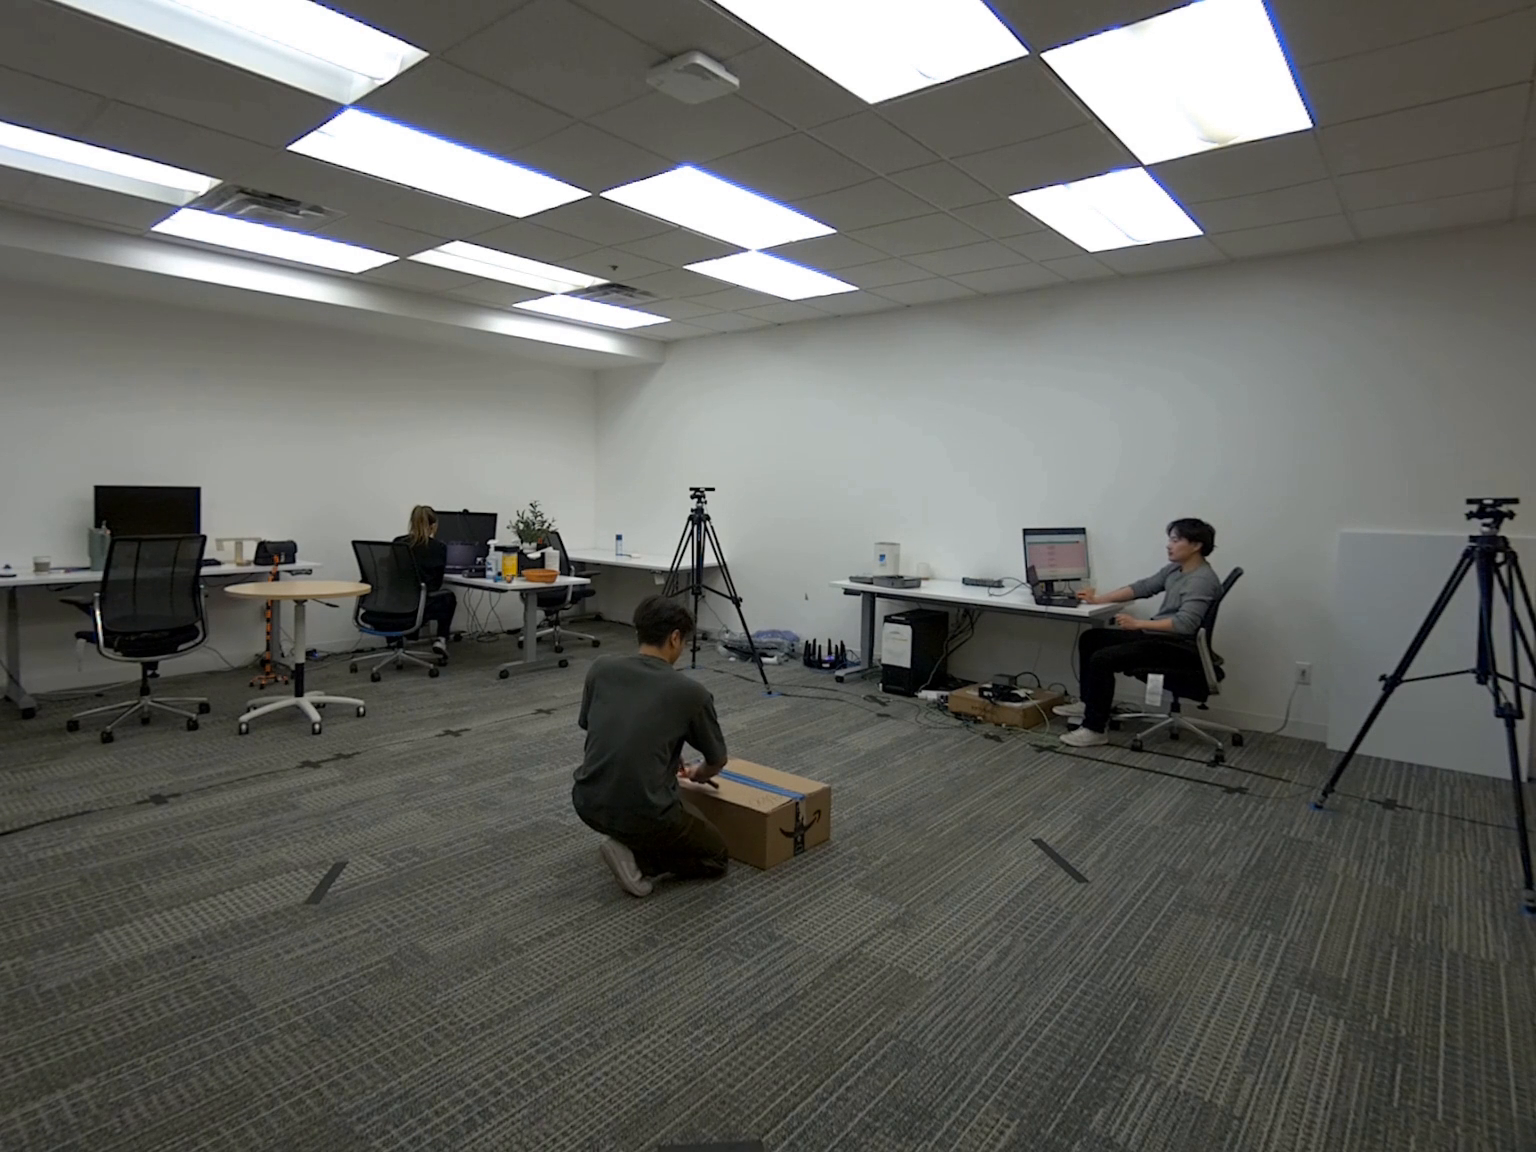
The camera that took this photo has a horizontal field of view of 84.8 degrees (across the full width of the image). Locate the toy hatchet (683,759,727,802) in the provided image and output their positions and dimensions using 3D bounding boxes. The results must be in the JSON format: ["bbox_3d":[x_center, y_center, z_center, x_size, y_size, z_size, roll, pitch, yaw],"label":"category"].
[{"bbox_3d":[-0.298,0.800,3.388,0.280,0.029,0.126,24,-27,34],"label":"toy hatchet"}]
